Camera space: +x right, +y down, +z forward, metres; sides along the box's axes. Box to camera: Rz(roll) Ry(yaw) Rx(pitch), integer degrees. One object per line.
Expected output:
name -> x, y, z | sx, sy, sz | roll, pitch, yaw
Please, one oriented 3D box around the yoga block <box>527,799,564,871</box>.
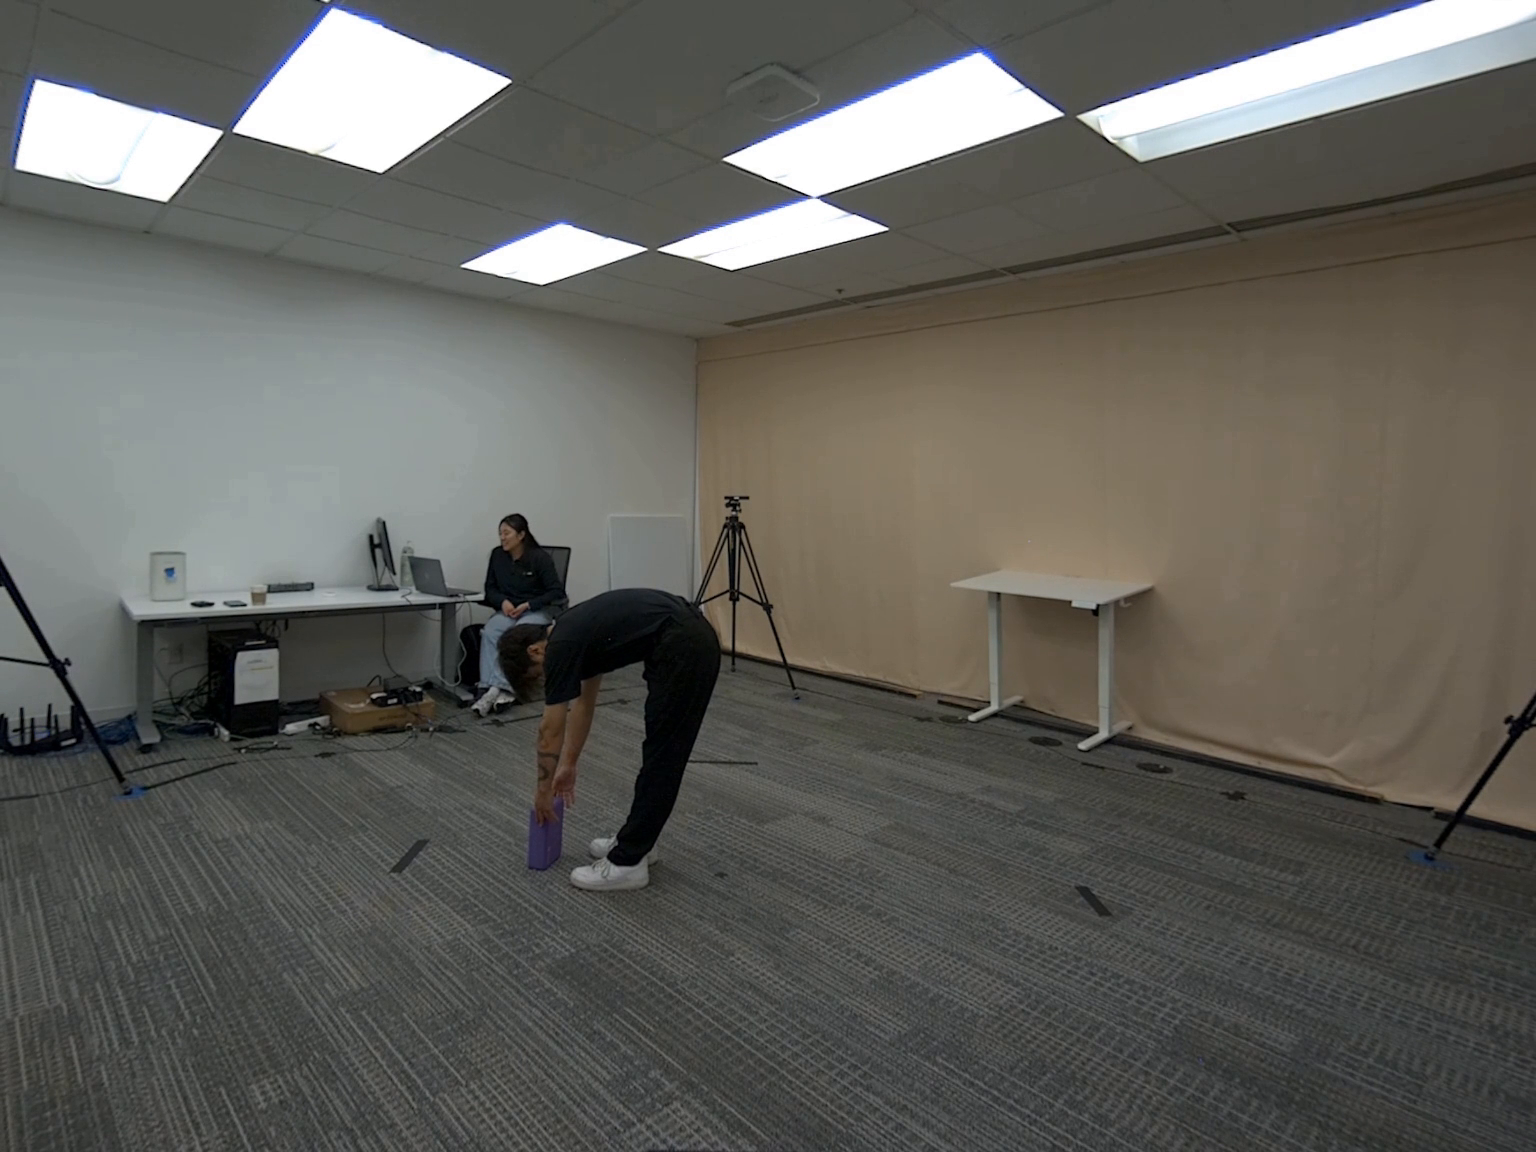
yoga block -> -0.837, 0.963, 3.173 | 0.077, 0.229, 0.148 | 2, 3, 9
